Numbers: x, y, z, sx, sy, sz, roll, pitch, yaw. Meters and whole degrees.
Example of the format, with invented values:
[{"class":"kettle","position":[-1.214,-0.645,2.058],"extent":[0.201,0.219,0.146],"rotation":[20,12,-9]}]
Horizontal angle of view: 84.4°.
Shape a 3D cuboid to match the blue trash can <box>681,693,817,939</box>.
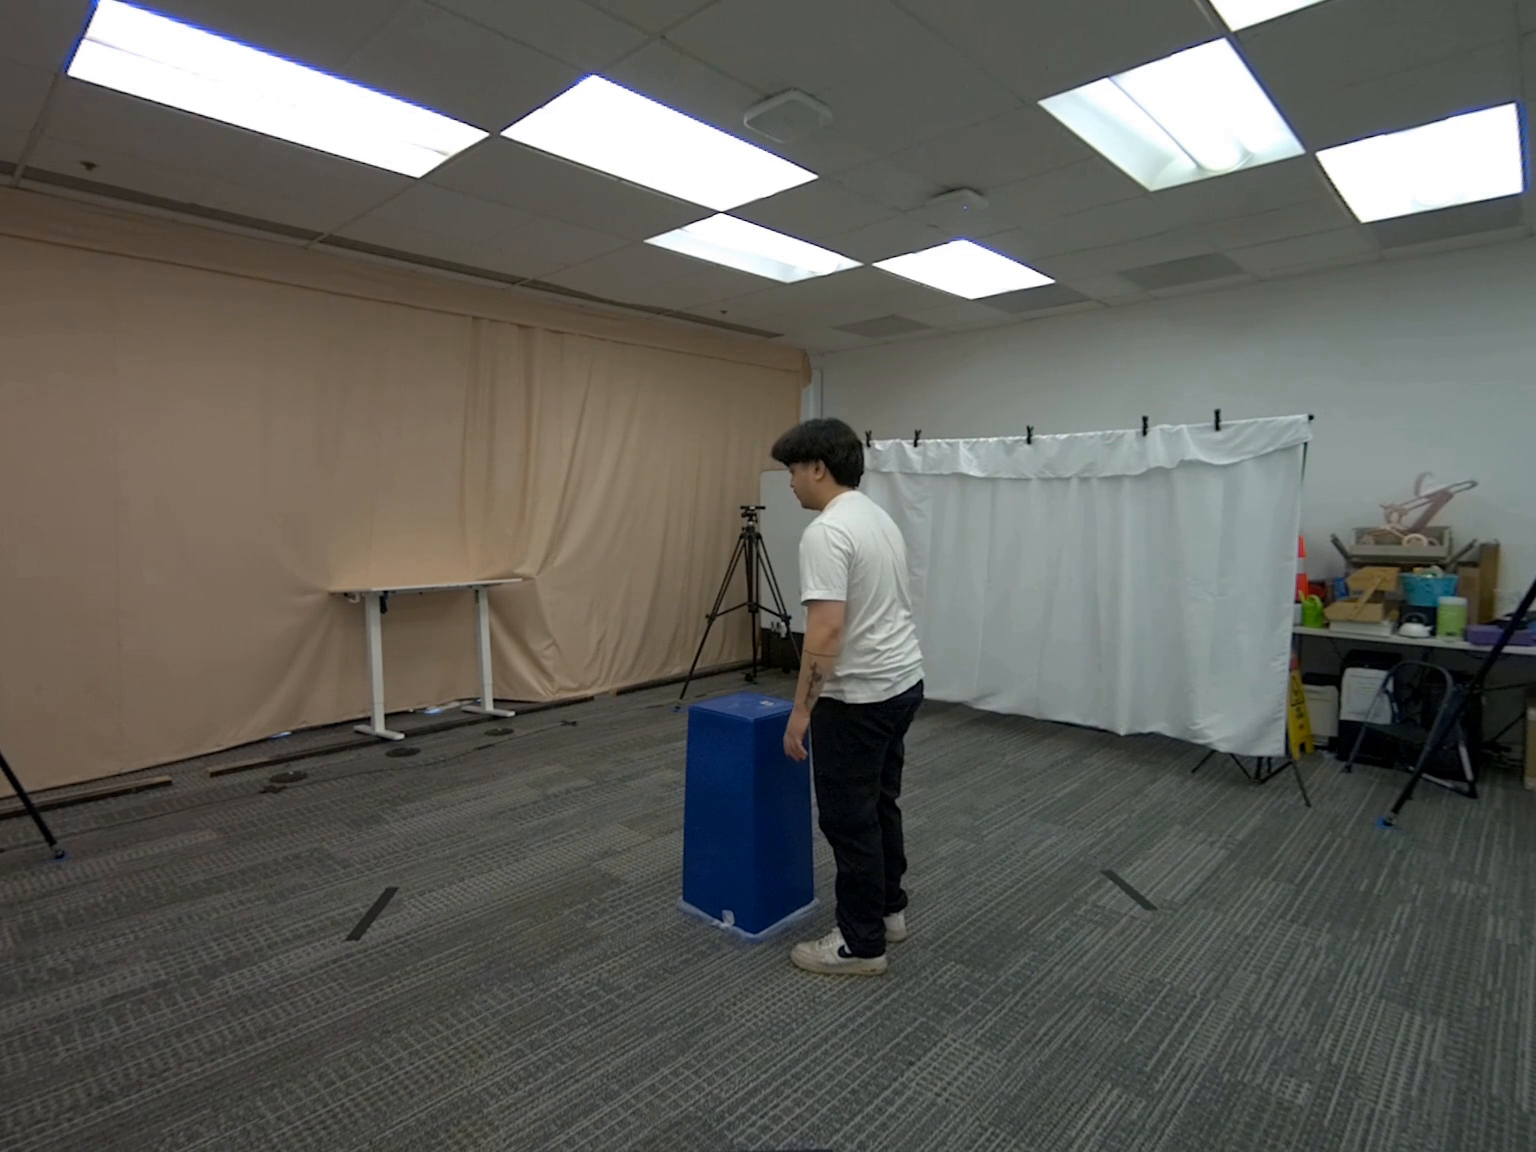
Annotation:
[{"class":"blue trash can","position":[-0.060,0.795,2.914],"extent":[0.391,0.712,0.362],"rotation":[3,3,42]}]
